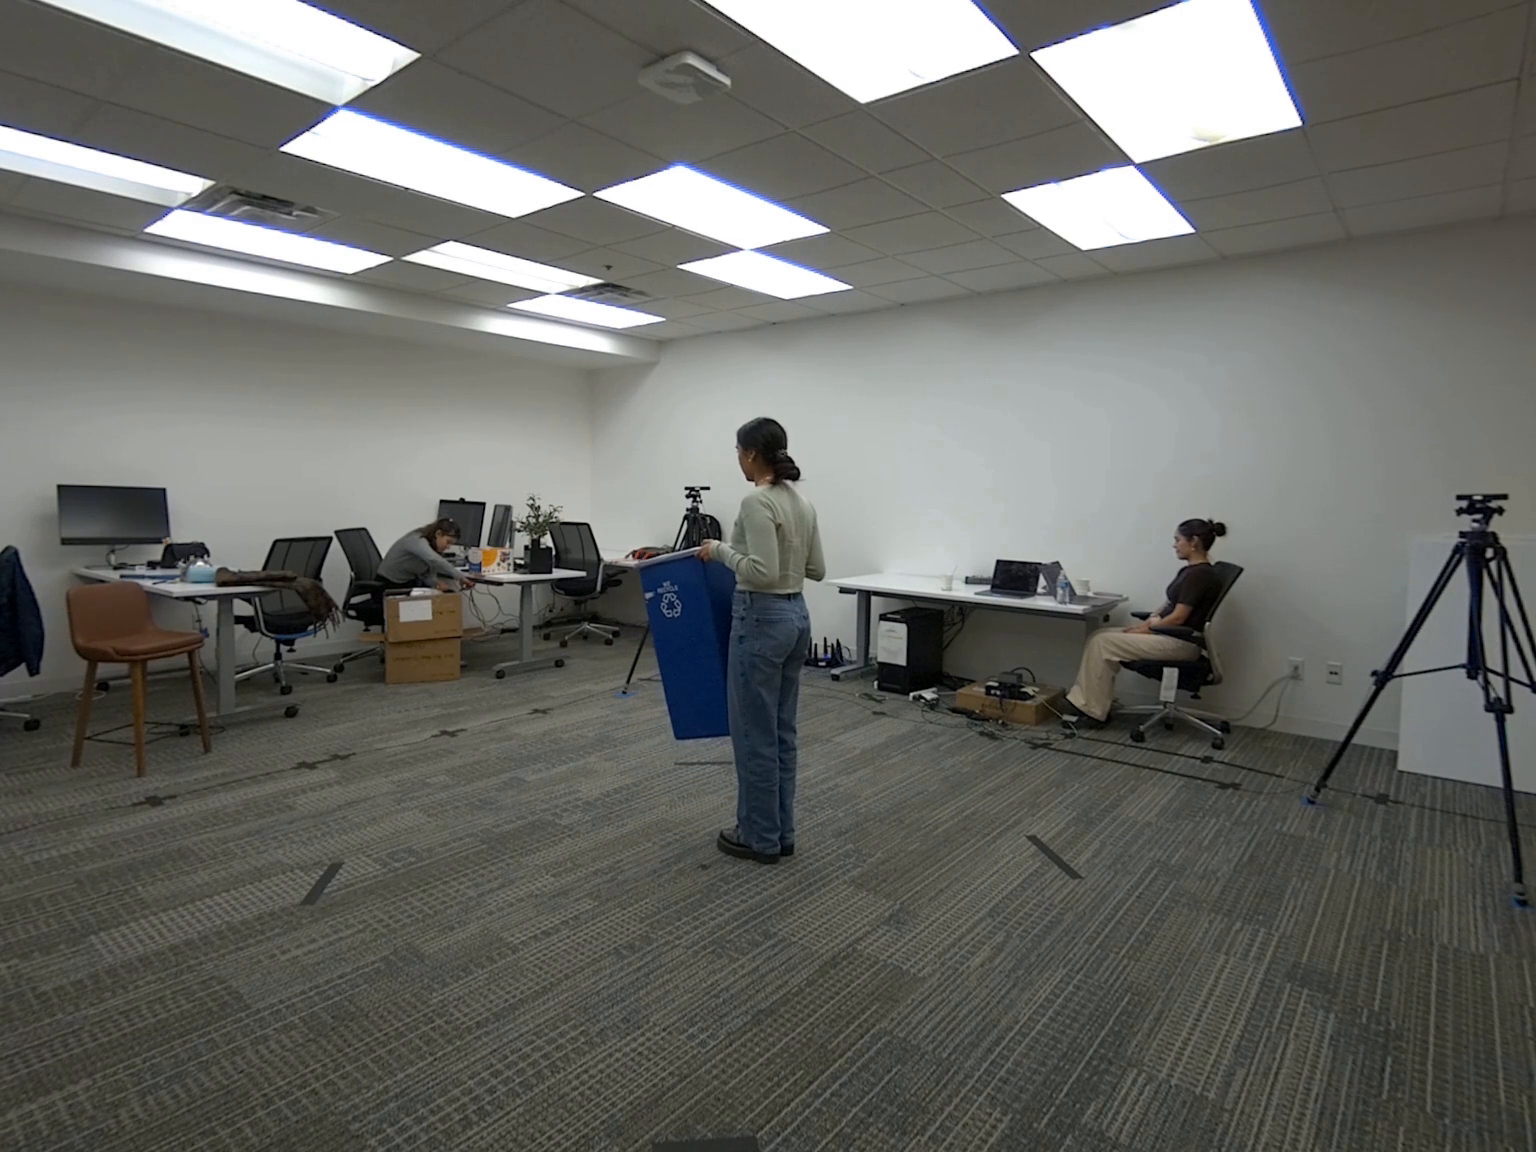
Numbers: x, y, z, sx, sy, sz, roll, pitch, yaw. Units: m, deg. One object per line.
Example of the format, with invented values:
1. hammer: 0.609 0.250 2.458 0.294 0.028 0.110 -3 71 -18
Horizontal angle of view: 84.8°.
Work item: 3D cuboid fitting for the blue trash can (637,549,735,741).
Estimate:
1. blue trash can: -0.243 0.256 3.398 0.382 0.718 0.367 -14 -5 35
